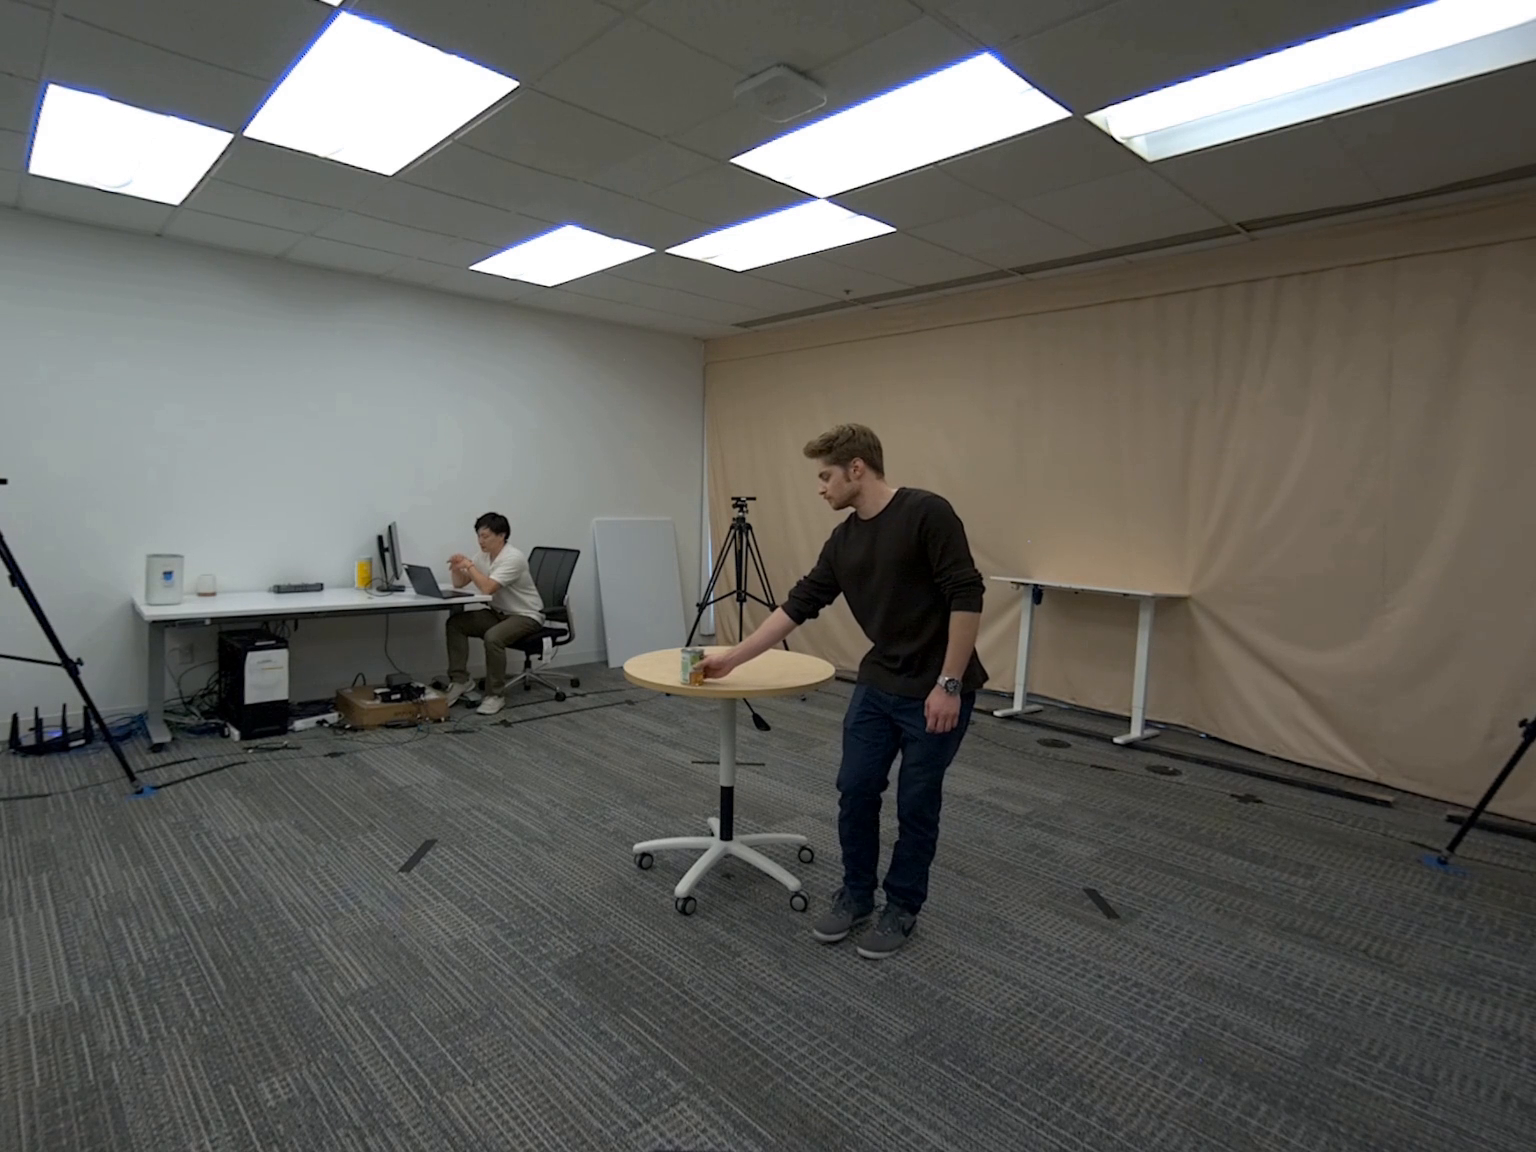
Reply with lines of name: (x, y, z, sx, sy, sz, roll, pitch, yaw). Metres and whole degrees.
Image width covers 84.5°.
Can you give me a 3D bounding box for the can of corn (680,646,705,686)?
can of corn: (-0.249, 0.300, 2.754, 0.074, 0.111, 0.074, 5, 3, -2)
